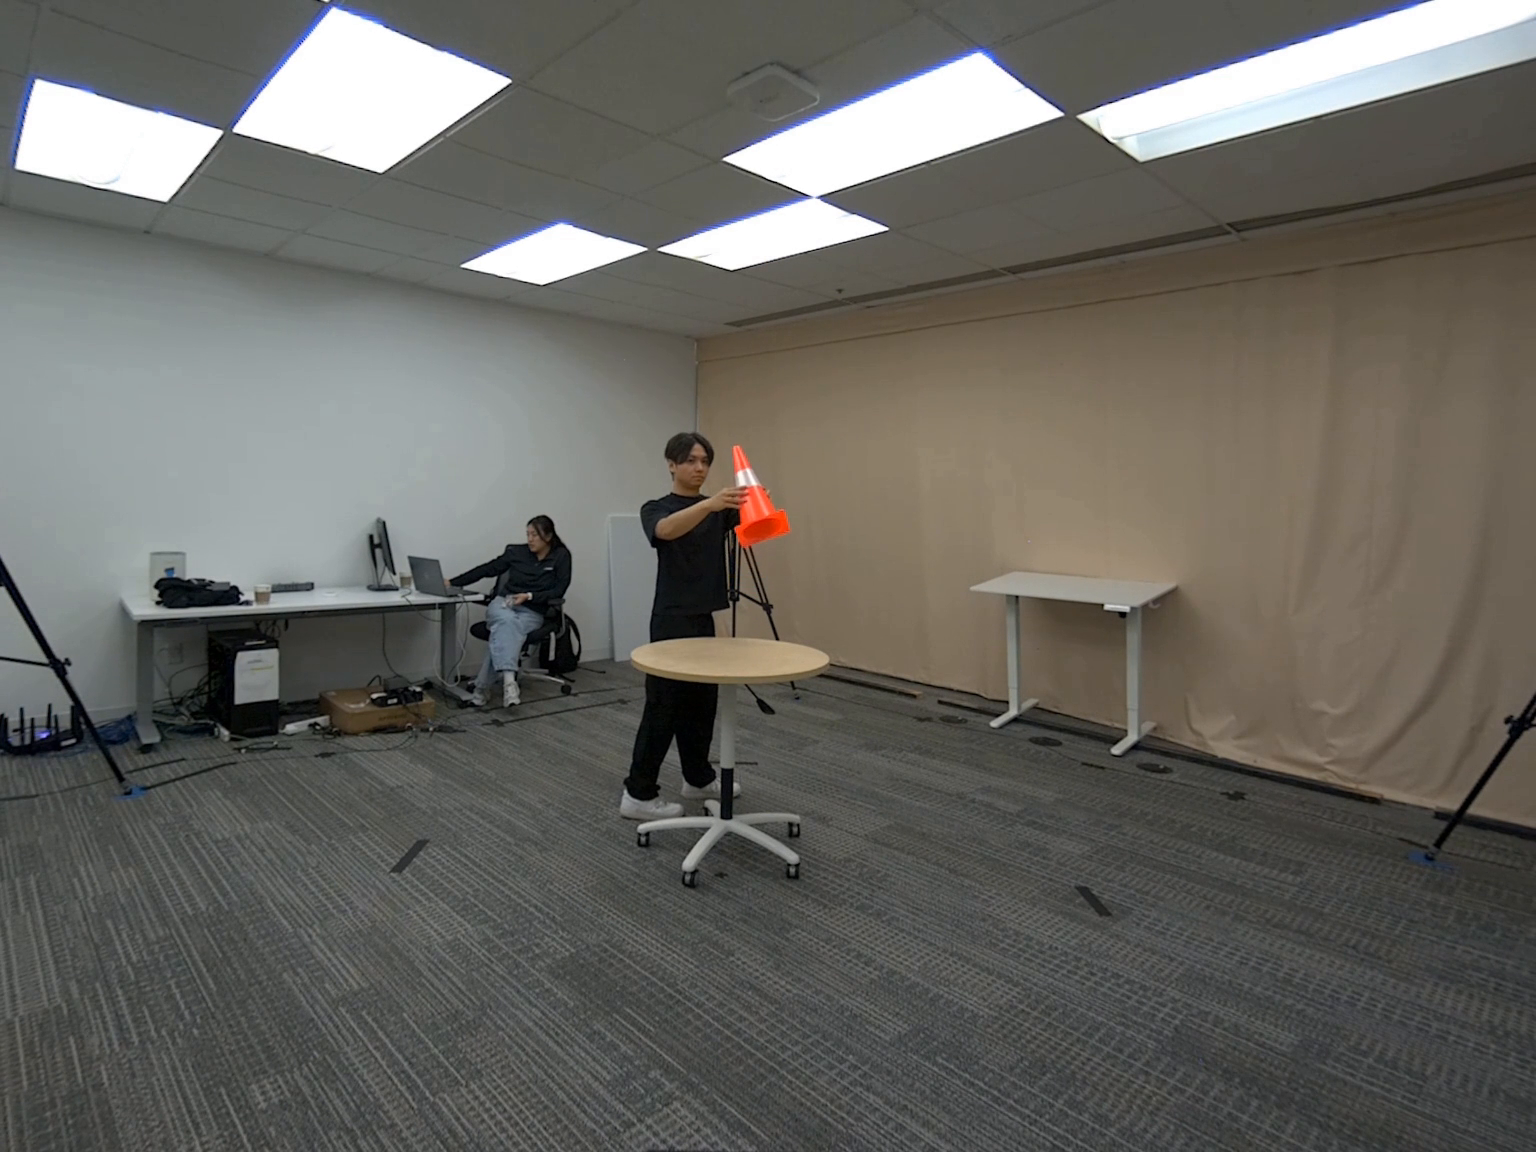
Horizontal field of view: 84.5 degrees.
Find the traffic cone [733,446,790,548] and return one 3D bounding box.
[{"bbox_3d":[-0.081,-0.334,3.274,0.206,0.391,0.198,-22,-23,11],"label":"traffic cone"}]
